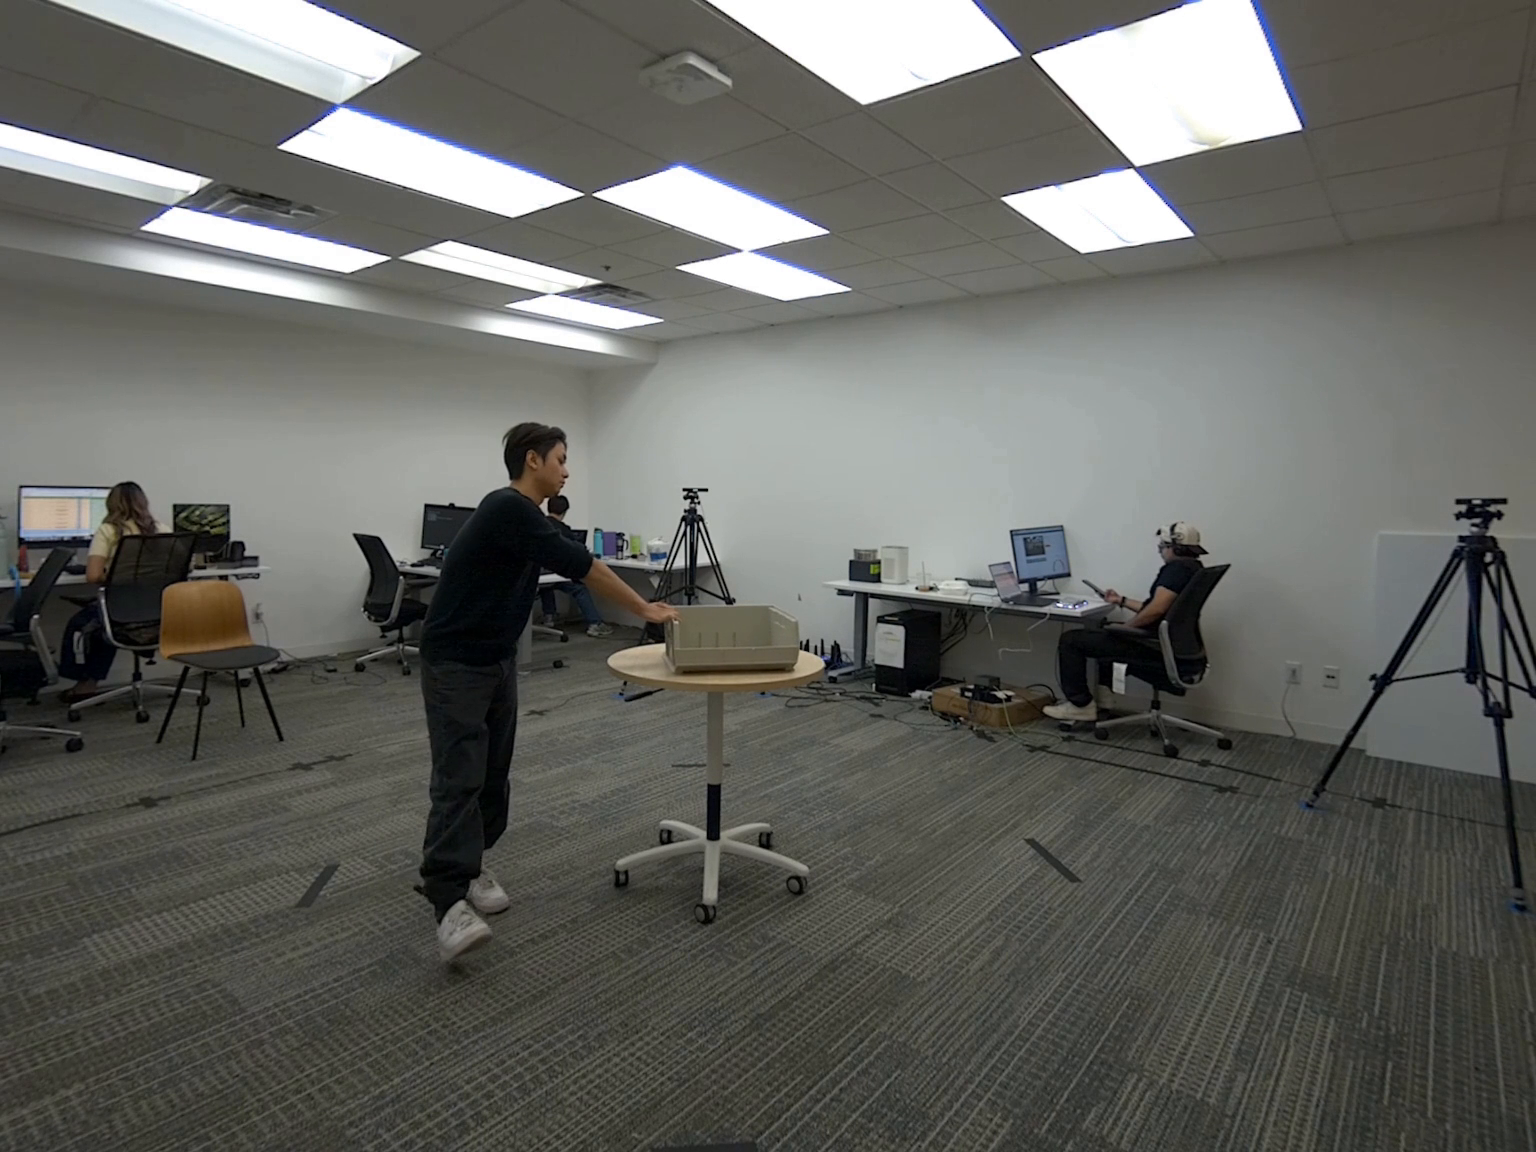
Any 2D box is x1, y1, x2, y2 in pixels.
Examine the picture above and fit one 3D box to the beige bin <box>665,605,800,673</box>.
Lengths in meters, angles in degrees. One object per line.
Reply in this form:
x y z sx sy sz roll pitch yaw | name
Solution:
-0.150 0.213 2.932 0.417 0.188 0.383 -1 4 -12 | beige bin
